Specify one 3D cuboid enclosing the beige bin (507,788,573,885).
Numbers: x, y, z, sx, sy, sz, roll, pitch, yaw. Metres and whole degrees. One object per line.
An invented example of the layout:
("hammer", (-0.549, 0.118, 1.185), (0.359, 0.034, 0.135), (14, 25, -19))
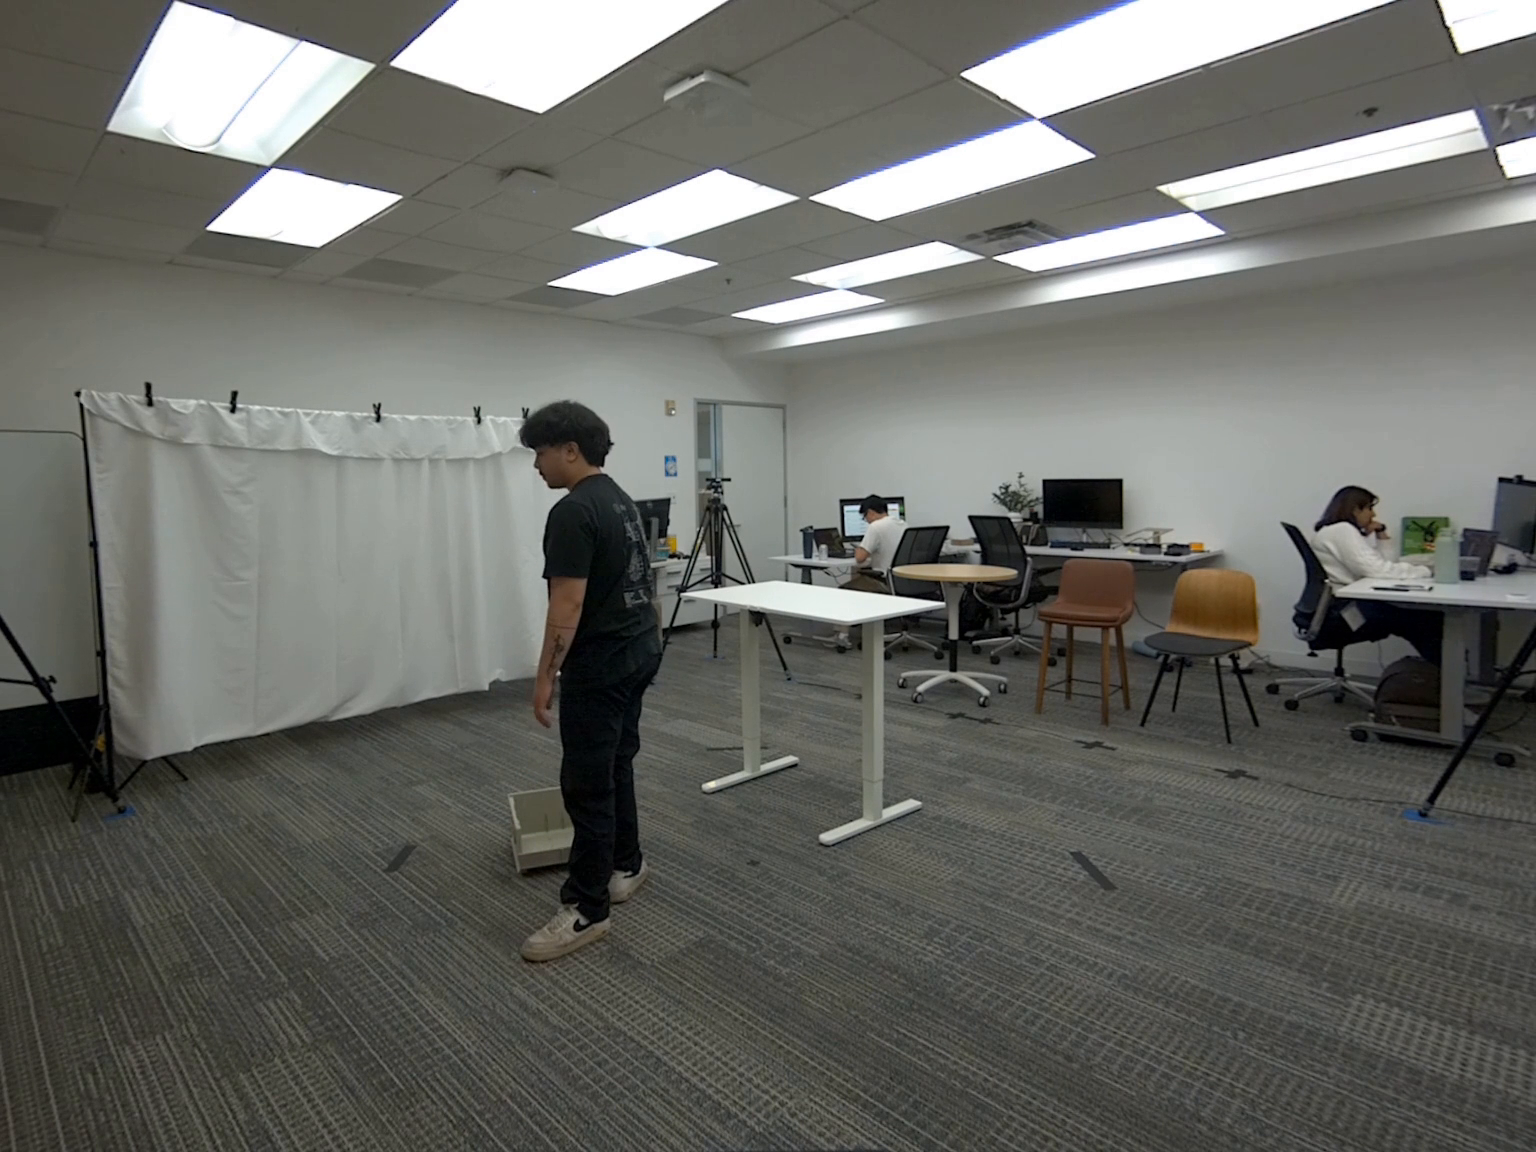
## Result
("beige bin", (-0.751, 0.954, 3.240), (0.415, 0.188, 0.385), (-4, 6, -20))
